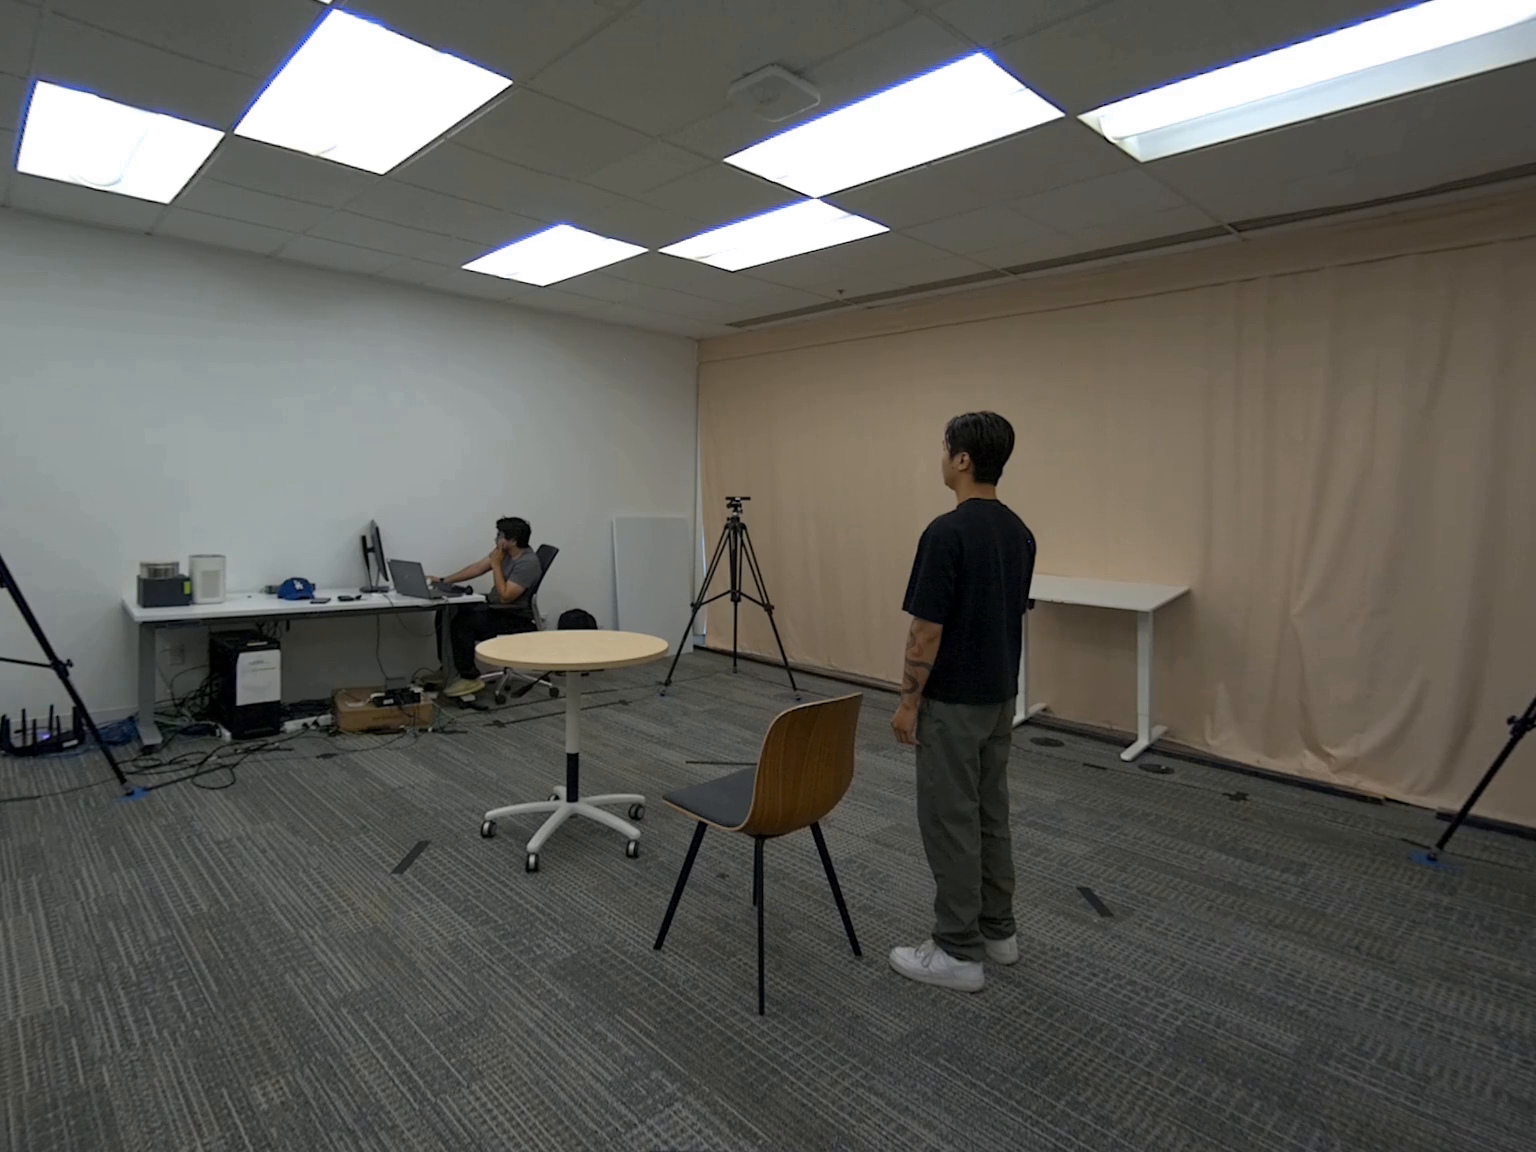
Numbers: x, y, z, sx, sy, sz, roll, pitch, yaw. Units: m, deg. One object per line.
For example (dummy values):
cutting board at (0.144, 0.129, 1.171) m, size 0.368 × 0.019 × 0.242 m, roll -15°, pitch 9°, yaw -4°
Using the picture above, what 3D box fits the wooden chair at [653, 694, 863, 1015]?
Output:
wooden chair at (-0.027, 0.729, 2.556) m, size 0.537 × 0.873 × 0.467 m, roll 11°, pitch 9°, yaw 44°
